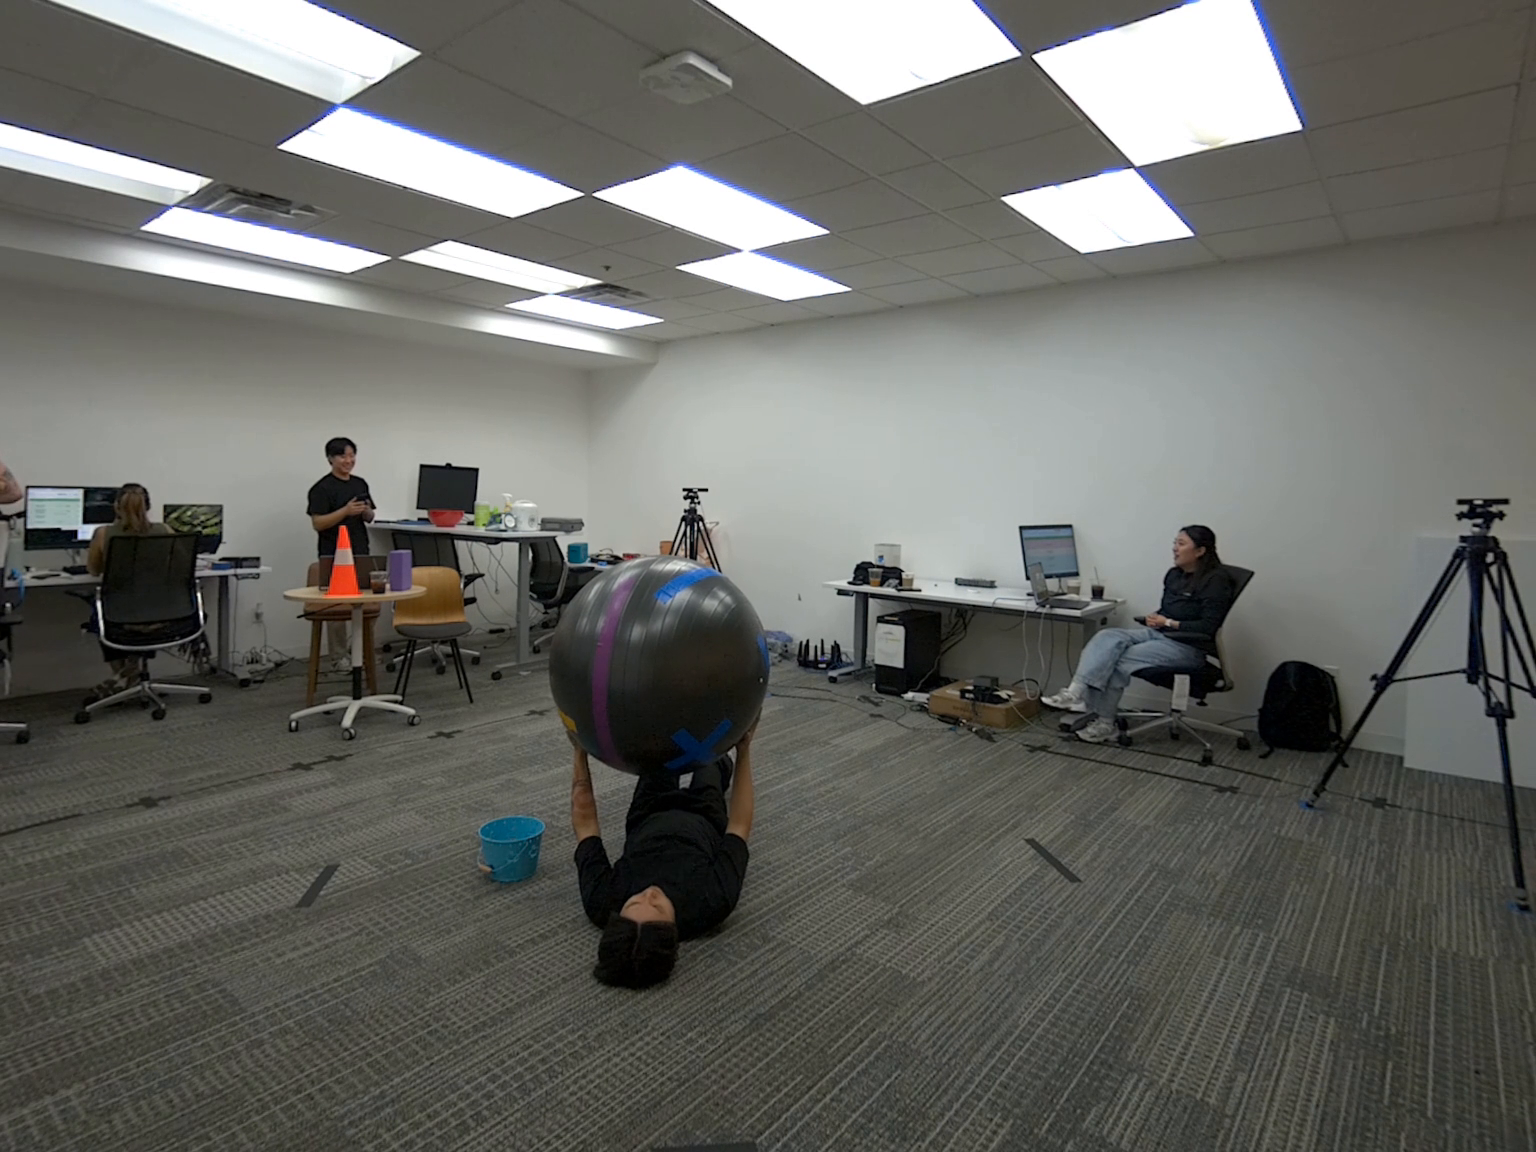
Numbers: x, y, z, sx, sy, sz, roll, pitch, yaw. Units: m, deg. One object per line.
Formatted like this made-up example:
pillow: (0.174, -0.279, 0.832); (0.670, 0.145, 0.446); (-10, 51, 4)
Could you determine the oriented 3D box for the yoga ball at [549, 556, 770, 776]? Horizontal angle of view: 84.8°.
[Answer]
yoga ball: (-0.382, 0.312, 2.951); (0.757, 0.755, 0.762); (1, 4, -2)
